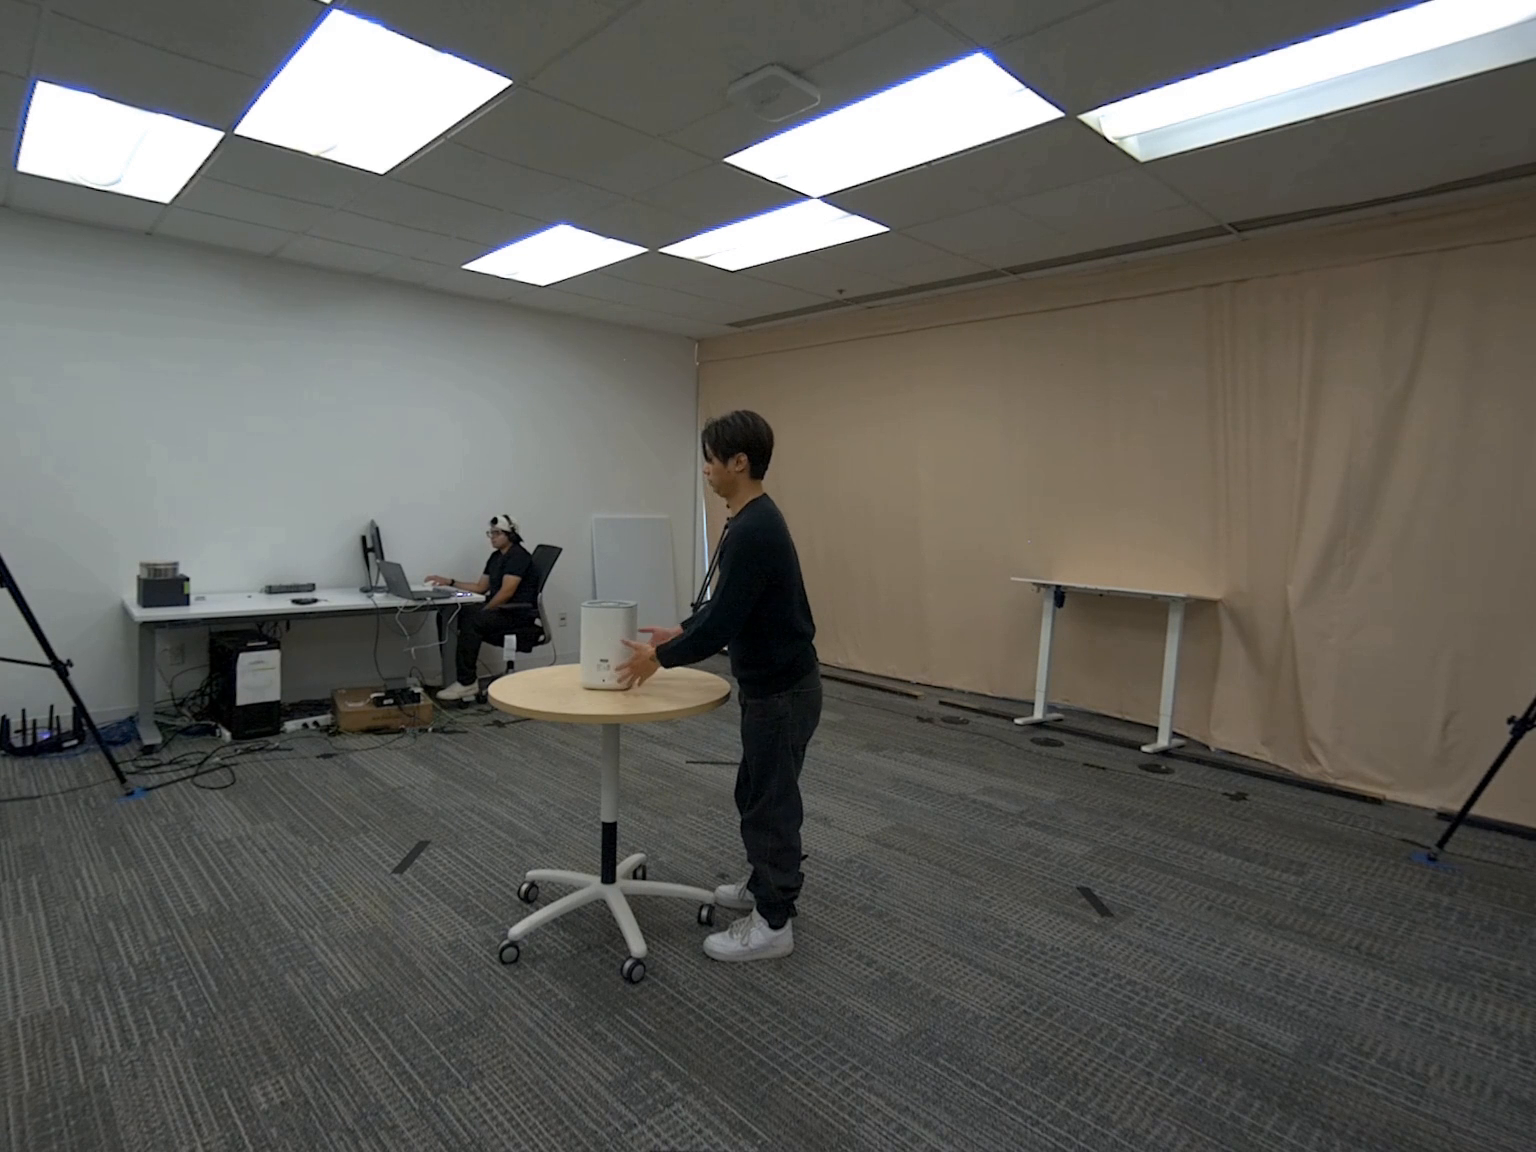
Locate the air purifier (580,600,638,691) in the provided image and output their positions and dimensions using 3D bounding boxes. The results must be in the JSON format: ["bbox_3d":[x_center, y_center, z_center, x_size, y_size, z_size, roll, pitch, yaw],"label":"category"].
[{"bbox_3d":[-0.519,0.214,2.700,0.171,0.265,0.171,0,1,2],"label":"air purifier"}]
